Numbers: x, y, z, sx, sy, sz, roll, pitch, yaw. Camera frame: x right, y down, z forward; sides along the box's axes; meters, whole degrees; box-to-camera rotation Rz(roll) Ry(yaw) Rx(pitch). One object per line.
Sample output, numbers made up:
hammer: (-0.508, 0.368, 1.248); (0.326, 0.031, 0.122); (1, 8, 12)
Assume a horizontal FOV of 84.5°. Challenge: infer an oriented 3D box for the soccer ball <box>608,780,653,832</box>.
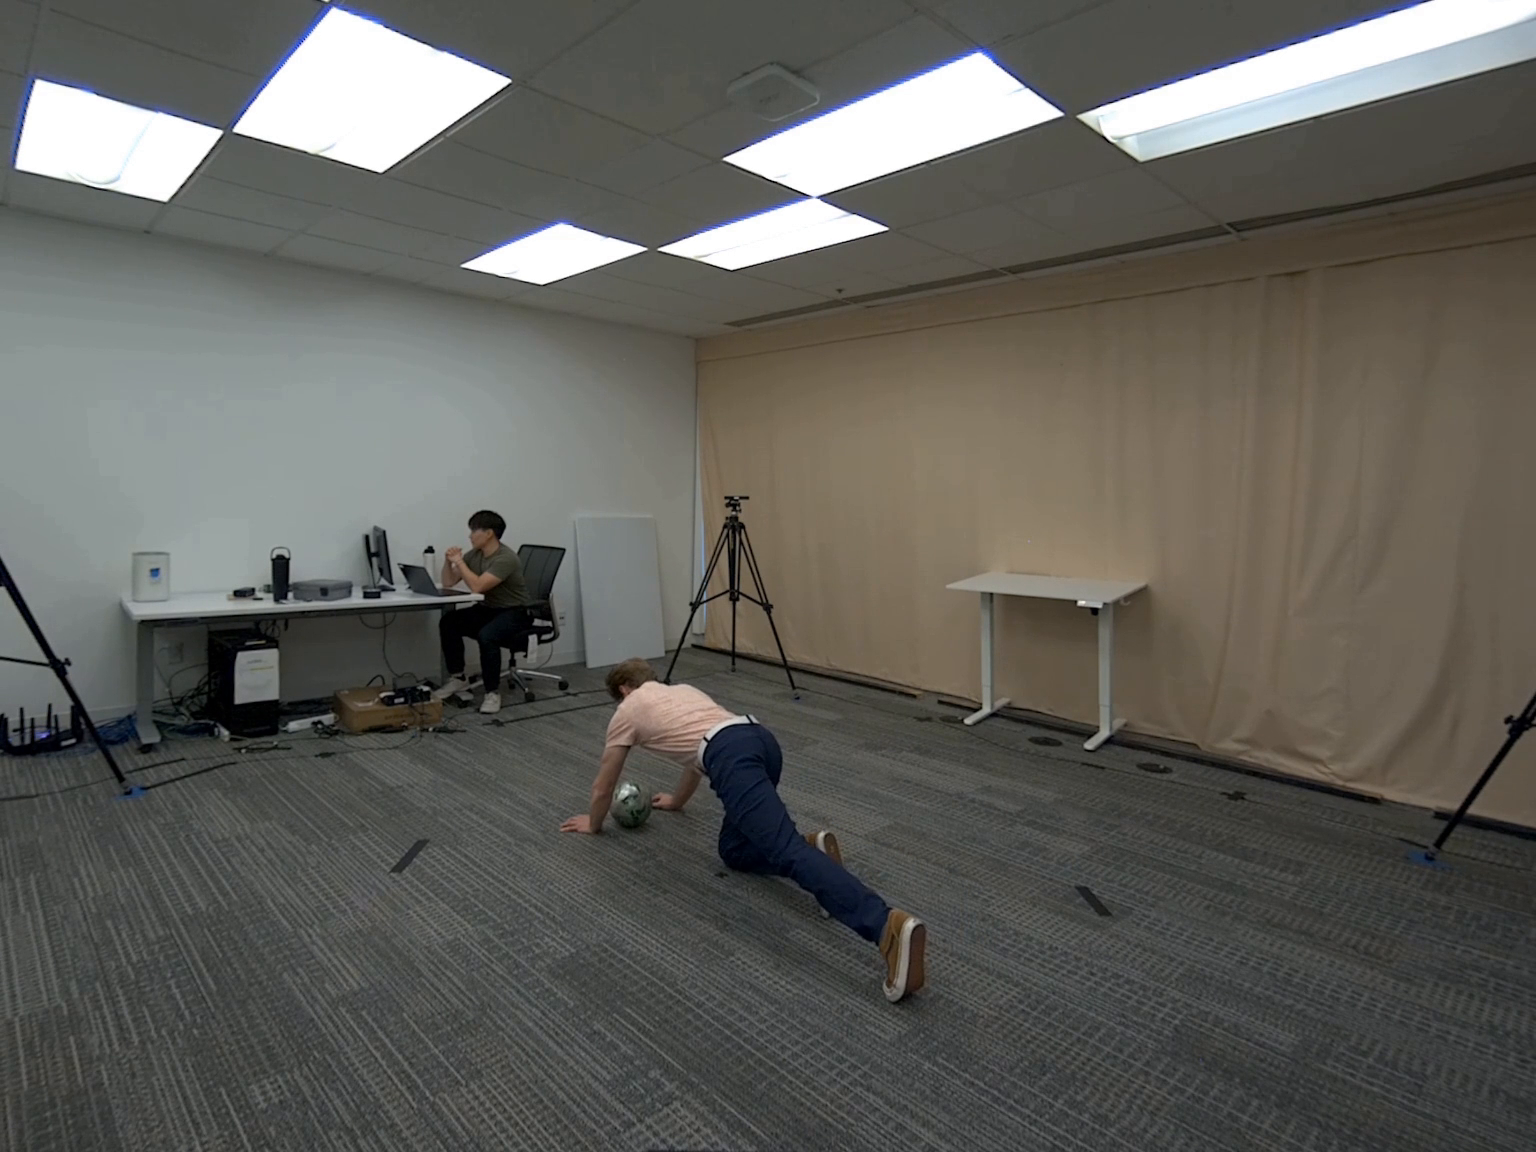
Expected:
soccer ball: (-0.585, 0.961, 3.555); (0.187, 0.187, 0.188); (1, 4, -1)
